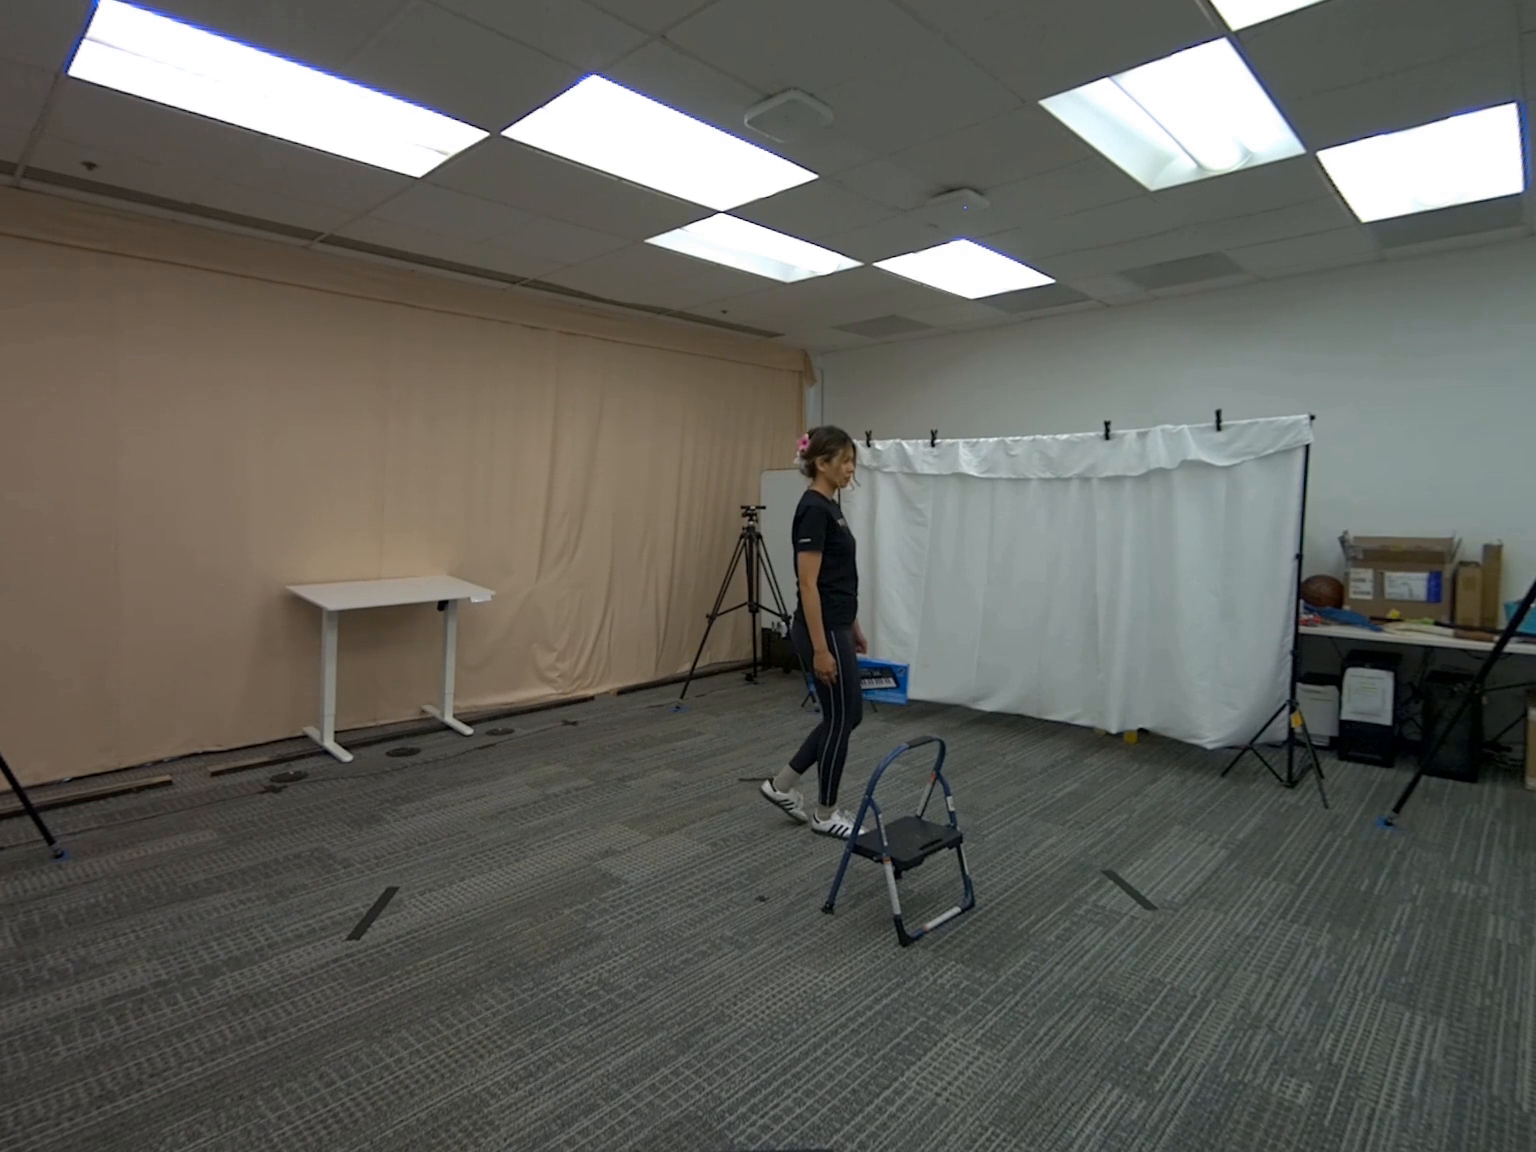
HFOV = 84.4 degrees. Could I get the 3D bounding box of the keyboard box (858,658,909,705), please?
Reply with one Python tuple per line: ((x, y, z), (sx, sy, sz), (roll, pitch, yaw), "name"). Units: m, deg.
((0.404, 0.449, 3.746), (0.446, 0.175, 0.058), (6, 7, 19), "keyboard box")
